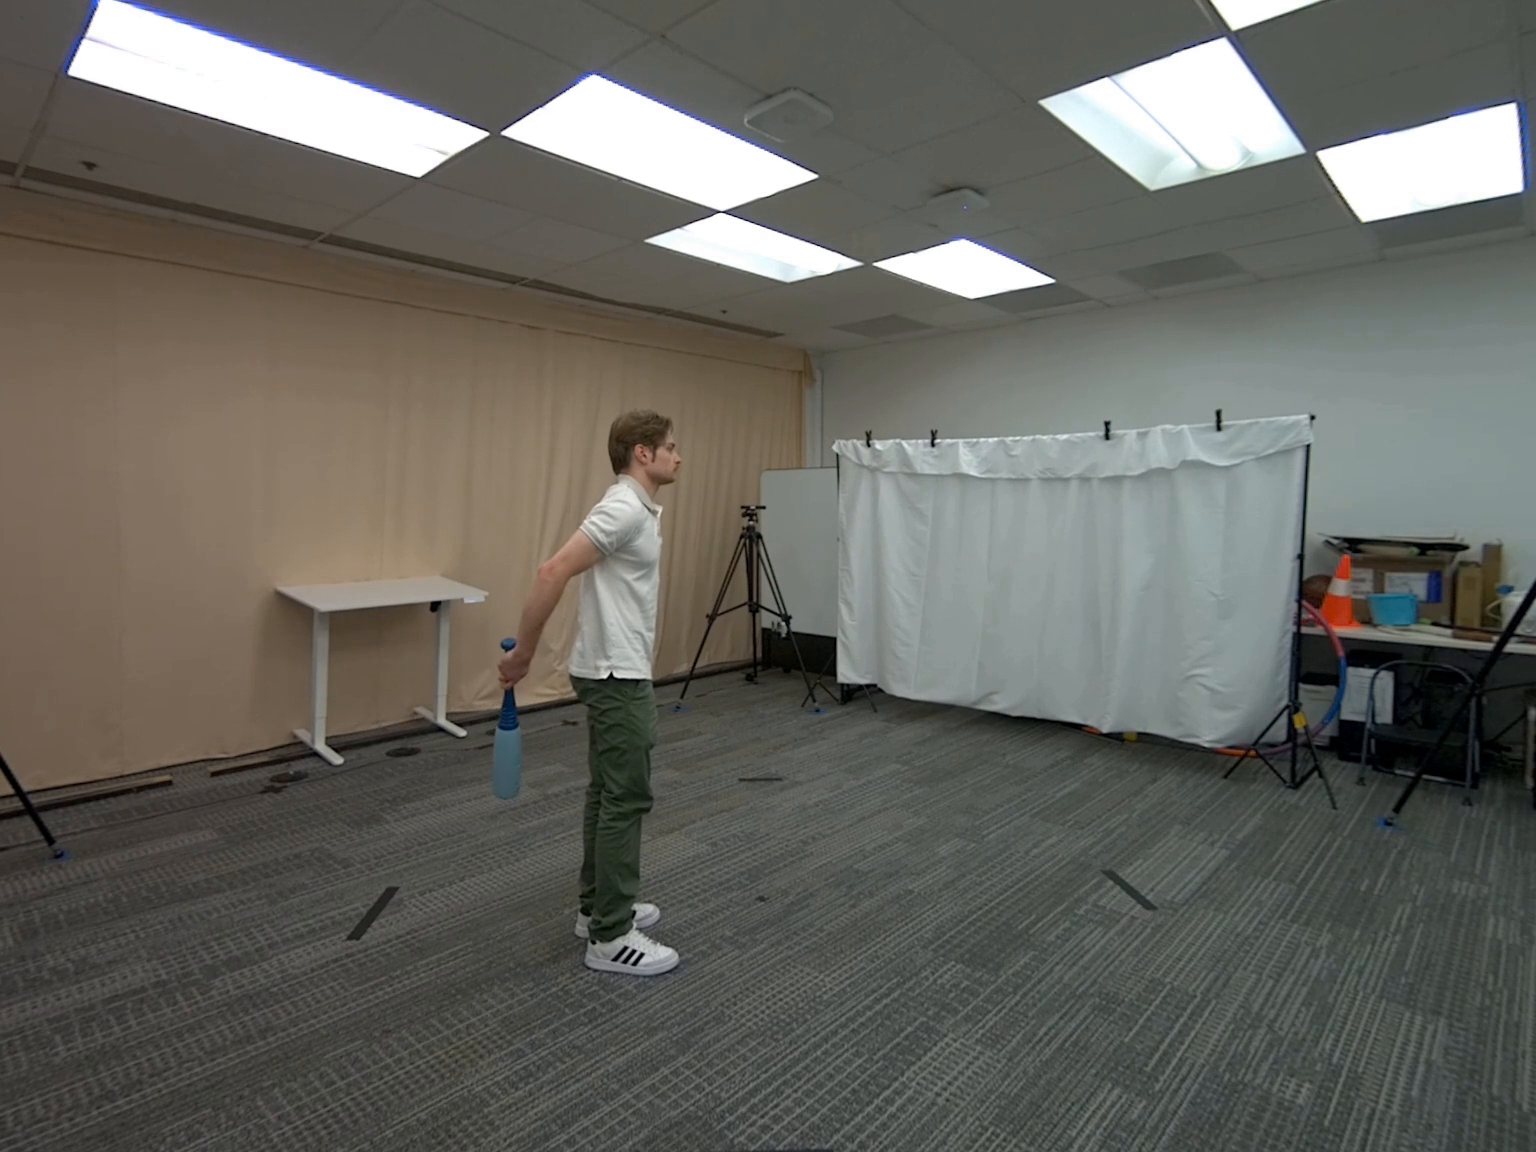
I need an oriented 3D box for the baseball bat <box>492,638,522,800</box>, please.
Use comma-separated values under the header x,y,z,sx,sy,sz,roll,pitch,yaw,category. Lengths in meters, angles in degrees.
x,y,z,sx,sy,sz,roll,pitch,yaw,category
-0.798,0.452,2.612,0.089,0.539,0.090,7,15,-4,baseball bat
